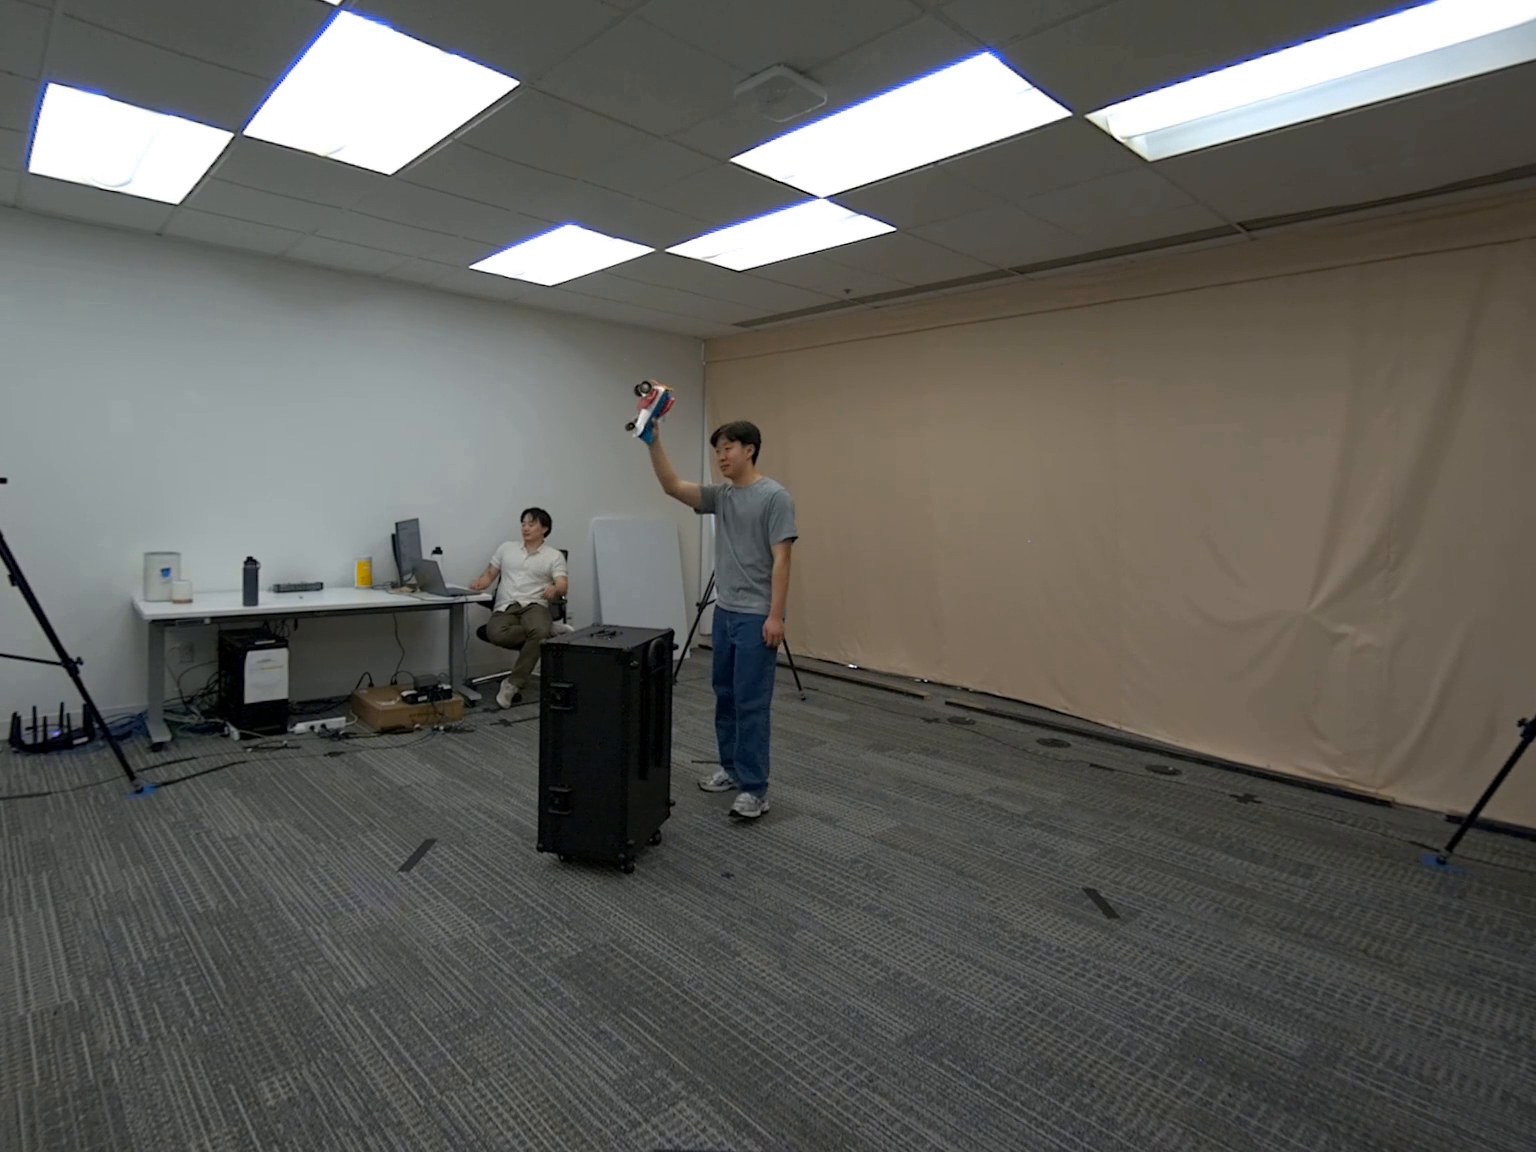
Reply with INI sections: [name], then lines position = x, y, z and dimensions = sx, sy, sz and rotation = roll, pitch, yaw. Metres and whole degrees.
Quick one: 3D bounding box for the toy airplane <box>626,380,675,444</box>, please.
[toy airplane]
position = -0.527, -0.736, 3.706
dimensions = 0.153, 0.257, 0.258
rotation = 15, 24, -22
